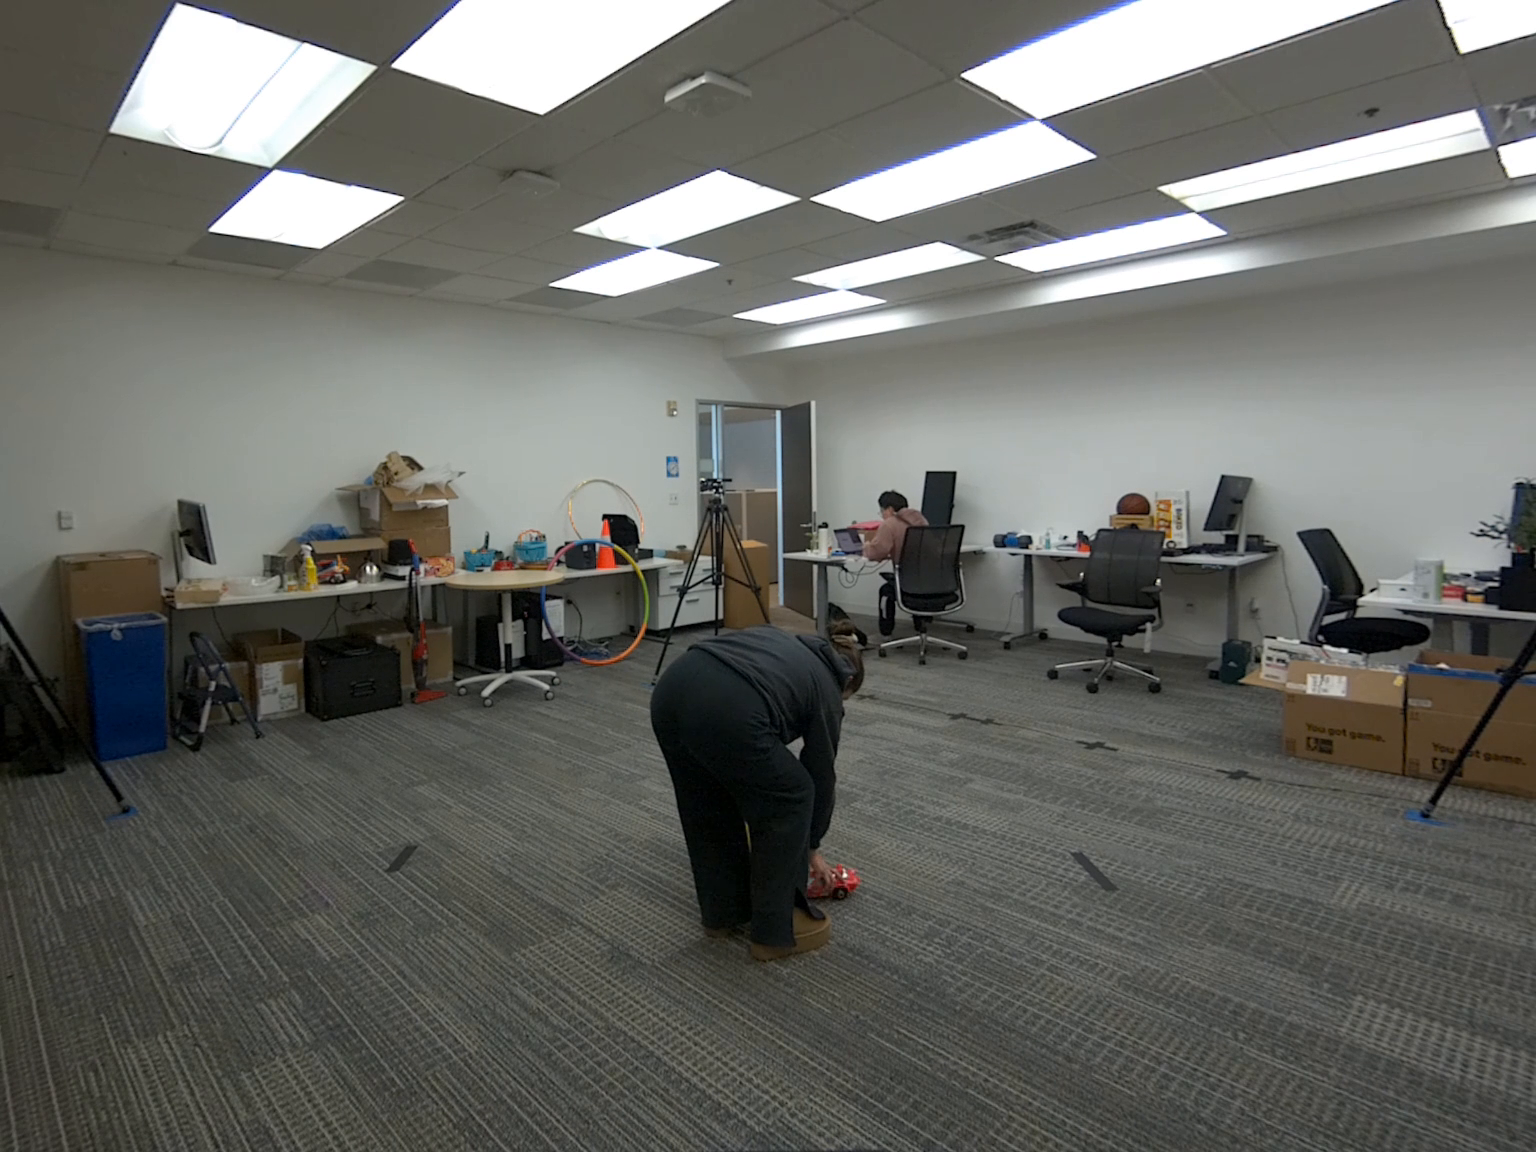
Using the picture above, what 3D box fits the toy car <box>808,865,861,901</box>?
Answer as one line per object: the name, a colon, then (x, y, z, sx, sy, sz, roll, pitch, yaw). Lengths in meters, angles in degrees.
toy car: (0.180, 1.038, 2.859, 0.254, 0.082, 0.132, -14, 10, -1)
